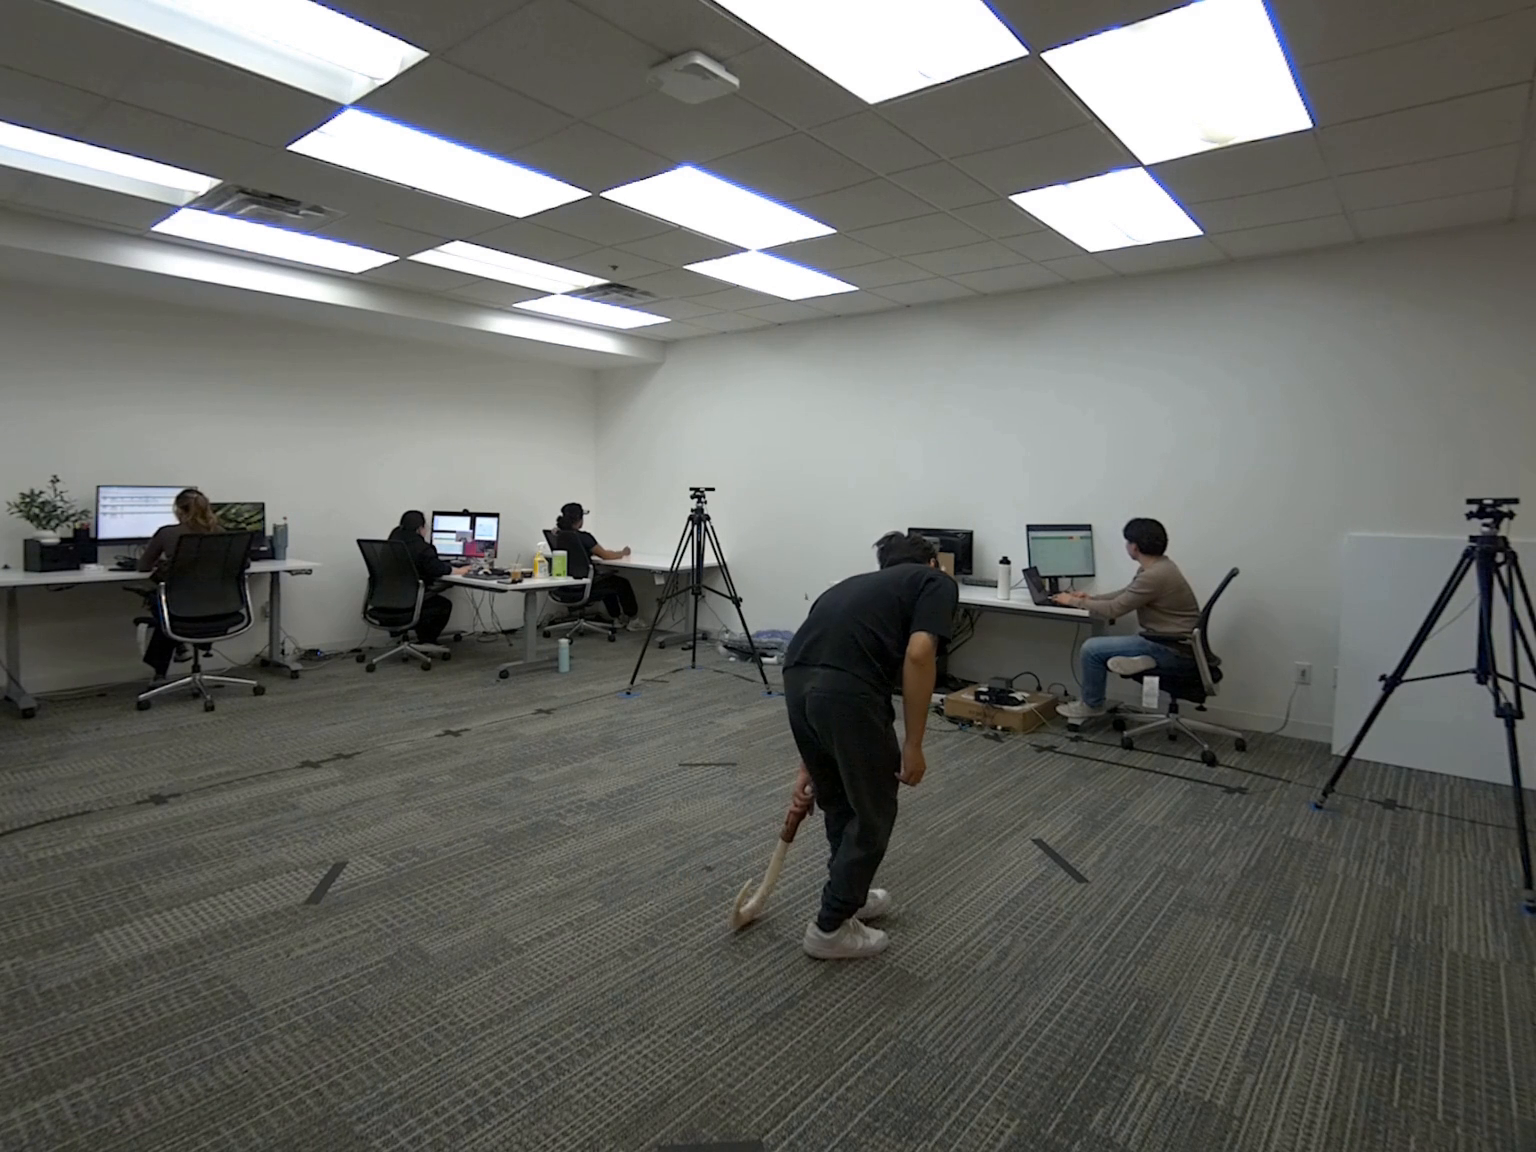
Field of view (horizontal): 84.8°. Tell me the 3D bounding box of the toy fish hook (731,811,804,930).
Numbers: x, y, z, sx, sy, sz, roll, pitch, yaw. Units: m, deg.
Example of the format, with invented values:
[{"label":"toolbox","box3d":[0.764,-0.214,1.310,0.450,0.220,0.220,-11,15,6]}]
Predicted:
[{"label":"toy fish hook","box3d":[0.002,0.883,2.674,0.050,0.505,0.218,27,8,24]}]
